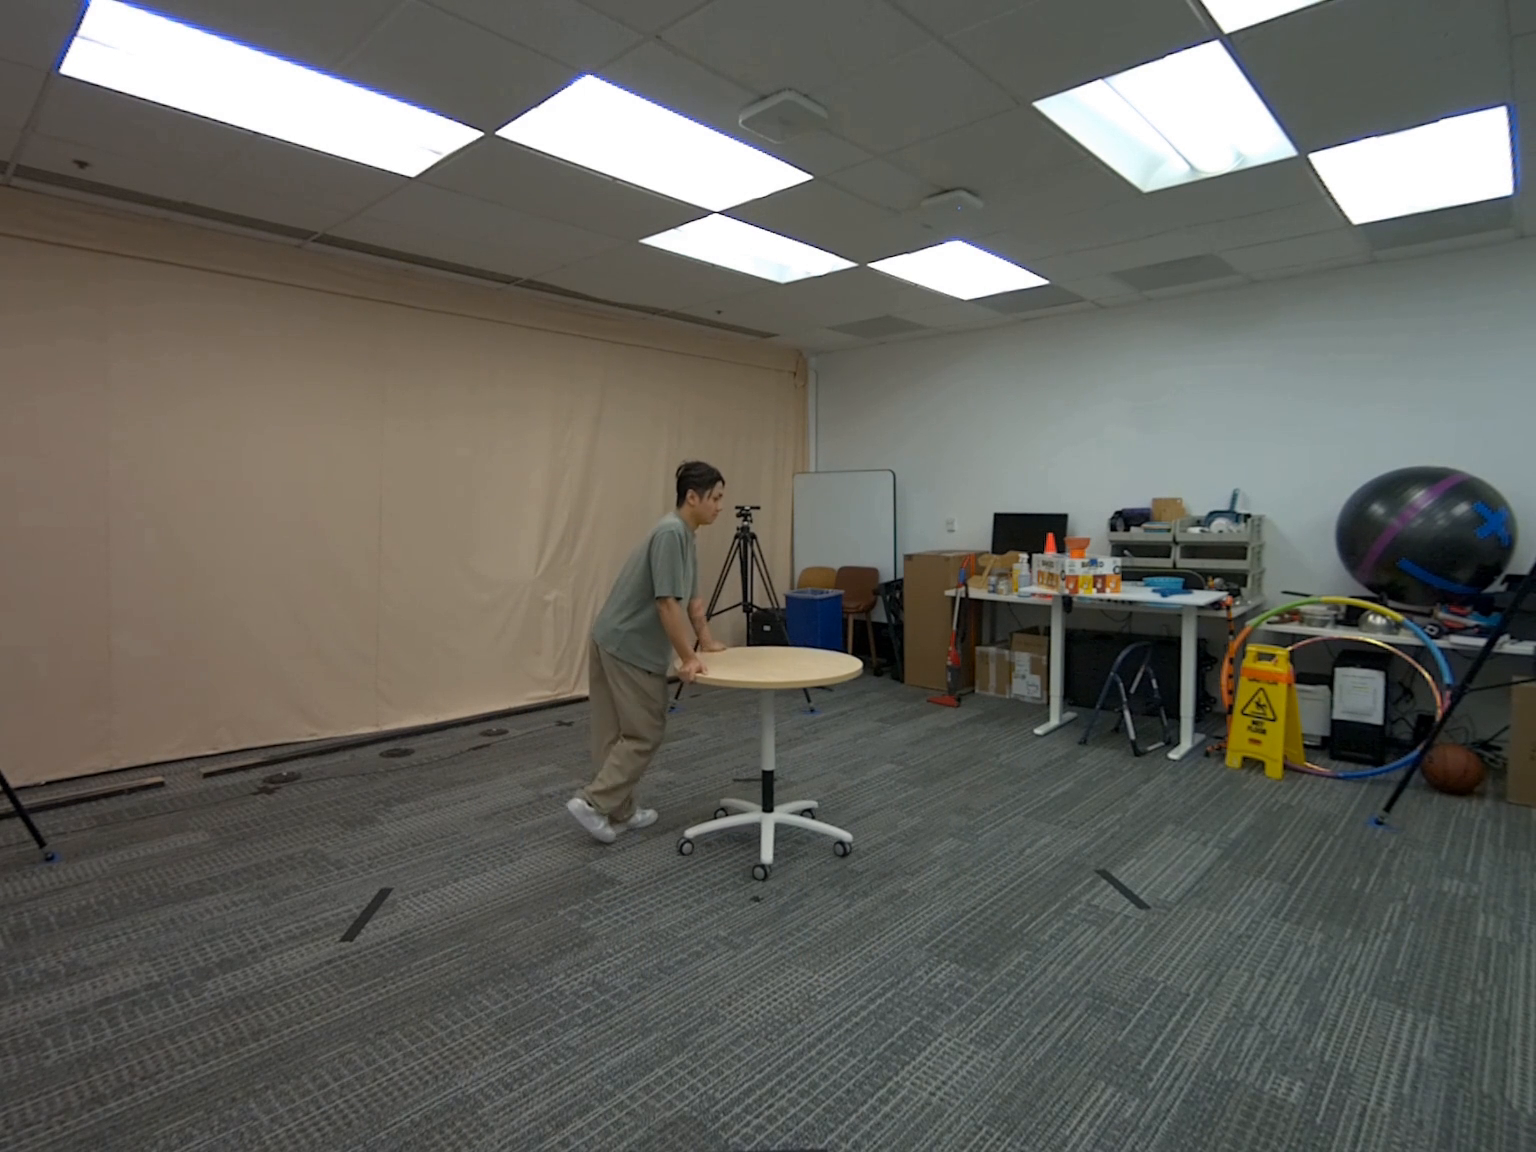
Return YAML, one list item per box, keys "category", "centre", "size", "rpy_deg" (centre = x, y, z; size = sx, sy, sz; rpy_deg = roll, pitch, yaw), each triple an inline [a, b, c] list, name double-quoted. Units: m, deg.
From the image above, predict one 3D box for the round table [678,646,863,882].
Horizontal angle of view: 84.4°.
- category: "round table"
  centre: [-0.005, 0.729, 3.431]
  size: [0.784, 0.785, 0.787]
  rpy_deg: [-1, 3, -2]
